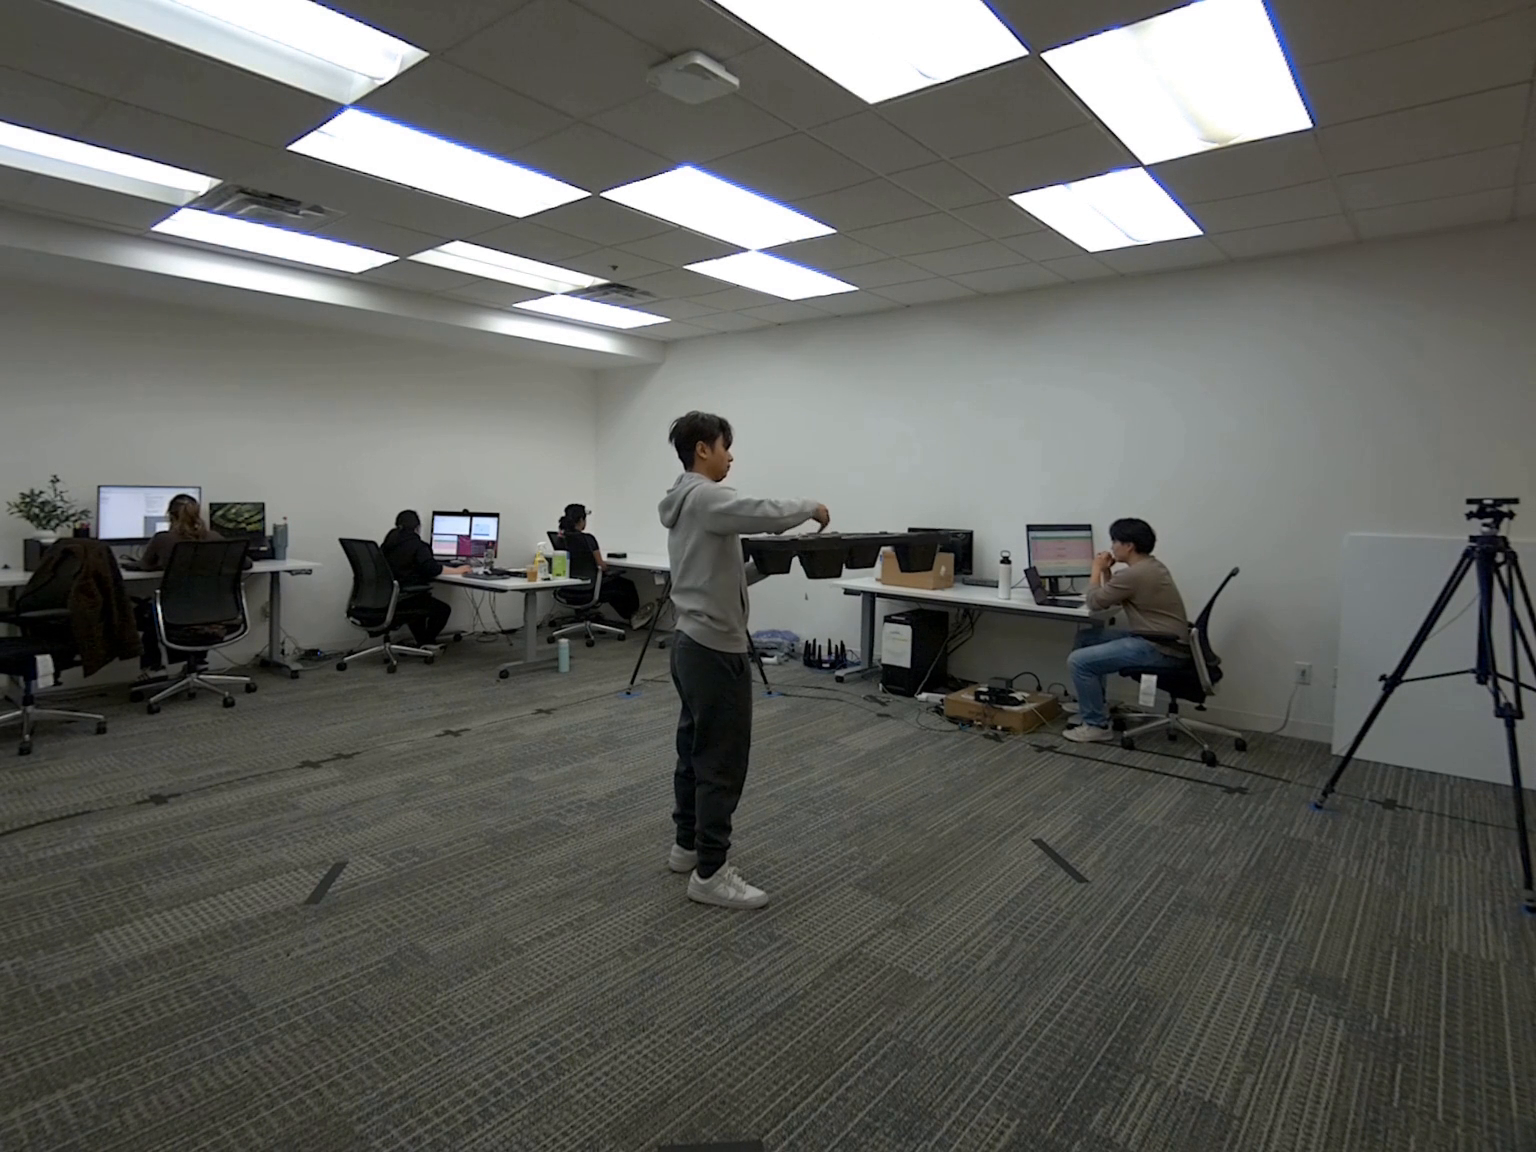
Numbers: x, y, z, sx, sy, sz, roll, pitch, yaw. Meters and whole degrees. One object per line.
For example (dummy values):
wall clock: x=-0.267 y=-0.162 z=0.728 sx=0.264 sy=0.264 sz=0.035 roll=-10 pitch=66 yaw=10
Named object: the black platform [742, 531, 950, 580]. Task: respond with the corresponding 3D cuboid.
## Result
black platform: x=0.181 y=-0.088 z=3.157 sx=0.591 sy=0.143 sz=0.827 roll=-4 pitch=5 yaw=-26
